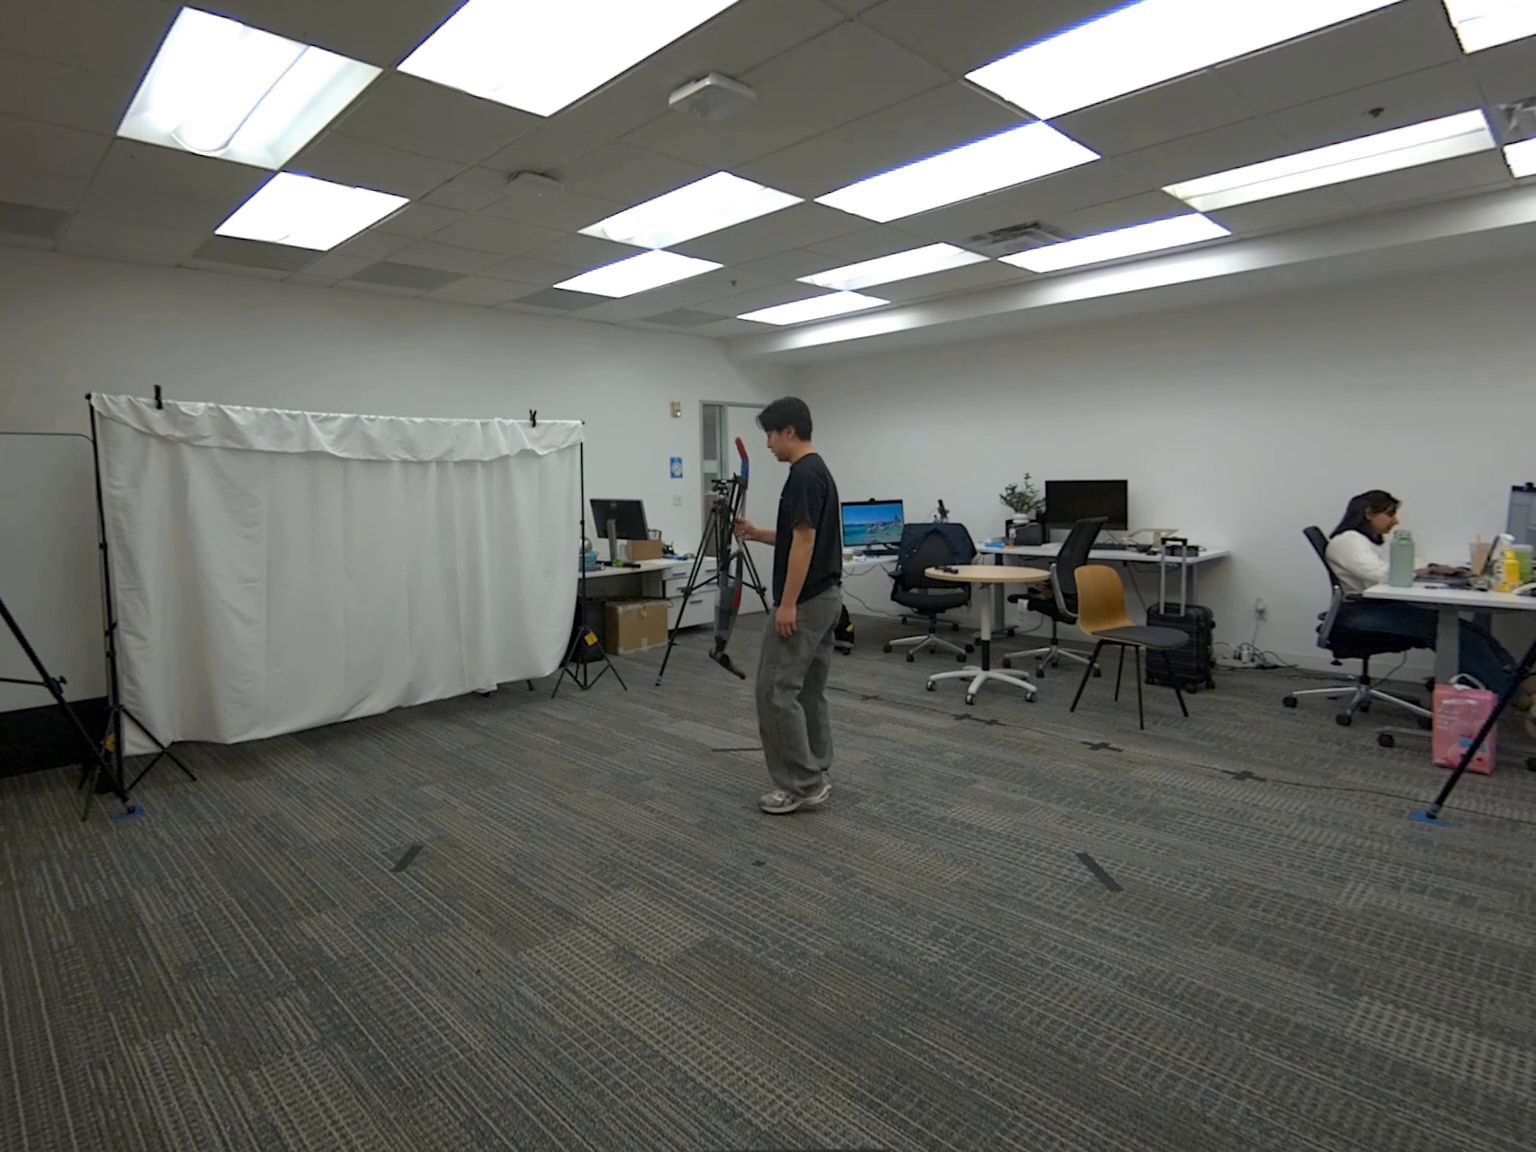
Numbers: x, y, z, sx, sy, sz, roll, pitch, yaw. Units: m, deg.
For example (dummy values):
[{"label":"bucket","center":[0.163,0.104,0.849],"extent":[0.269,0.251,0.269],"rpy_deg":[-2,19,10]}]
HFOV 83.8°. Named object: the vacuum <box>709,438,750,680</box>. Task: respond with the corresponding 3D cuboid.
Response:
[{"label":"vacuum","center":[-0.172,-0.105,3.963],"extent":[0.141,1.043,0.259],"rpy_deg":[1,7,-21]}]
